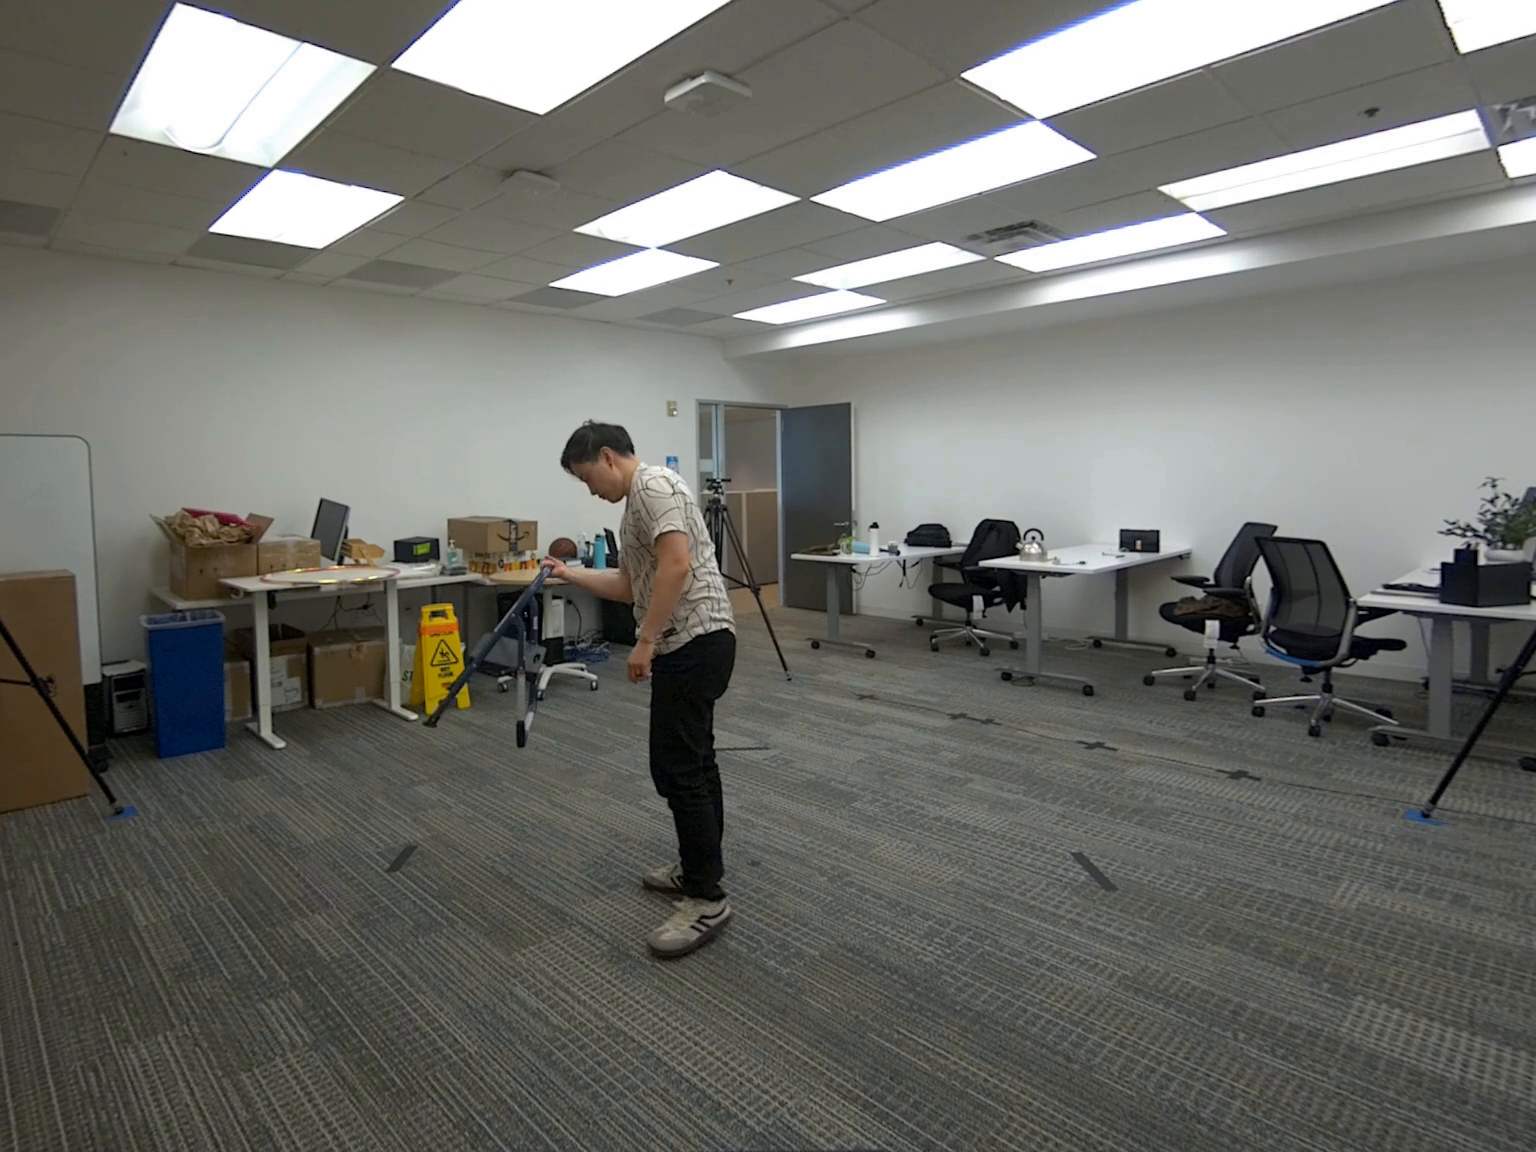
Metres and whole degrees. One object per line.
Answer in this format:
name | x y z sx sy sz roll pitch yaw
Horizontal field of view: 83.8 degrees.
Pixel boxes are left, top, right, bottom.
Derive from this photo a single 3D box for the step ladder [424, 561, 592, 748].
step ladder | -0.918 0.235 3.081 0.345 0.604 0.437 15 4 -12
